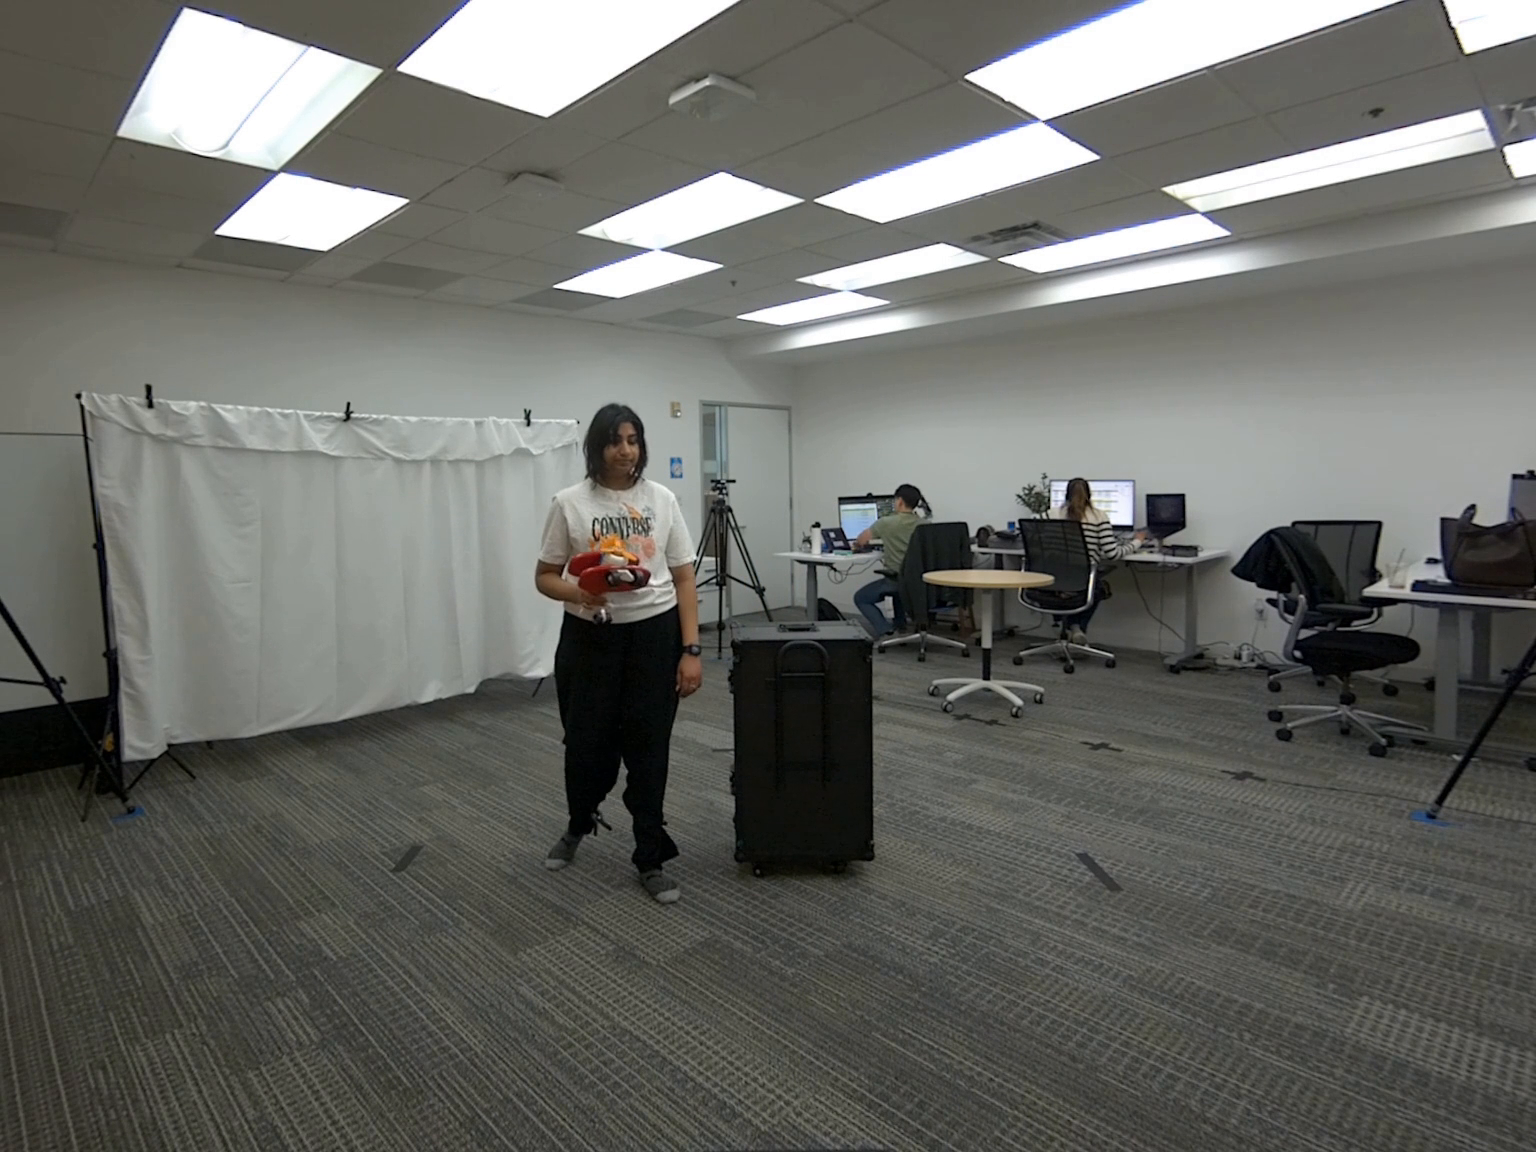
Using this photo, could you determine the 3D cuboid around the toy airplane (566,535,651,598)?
[{"bbox_3d":[-0.517,0.031,2.683,0.260,0.162,0.242,-38,-32,11],"label":"toy airplane"}]
